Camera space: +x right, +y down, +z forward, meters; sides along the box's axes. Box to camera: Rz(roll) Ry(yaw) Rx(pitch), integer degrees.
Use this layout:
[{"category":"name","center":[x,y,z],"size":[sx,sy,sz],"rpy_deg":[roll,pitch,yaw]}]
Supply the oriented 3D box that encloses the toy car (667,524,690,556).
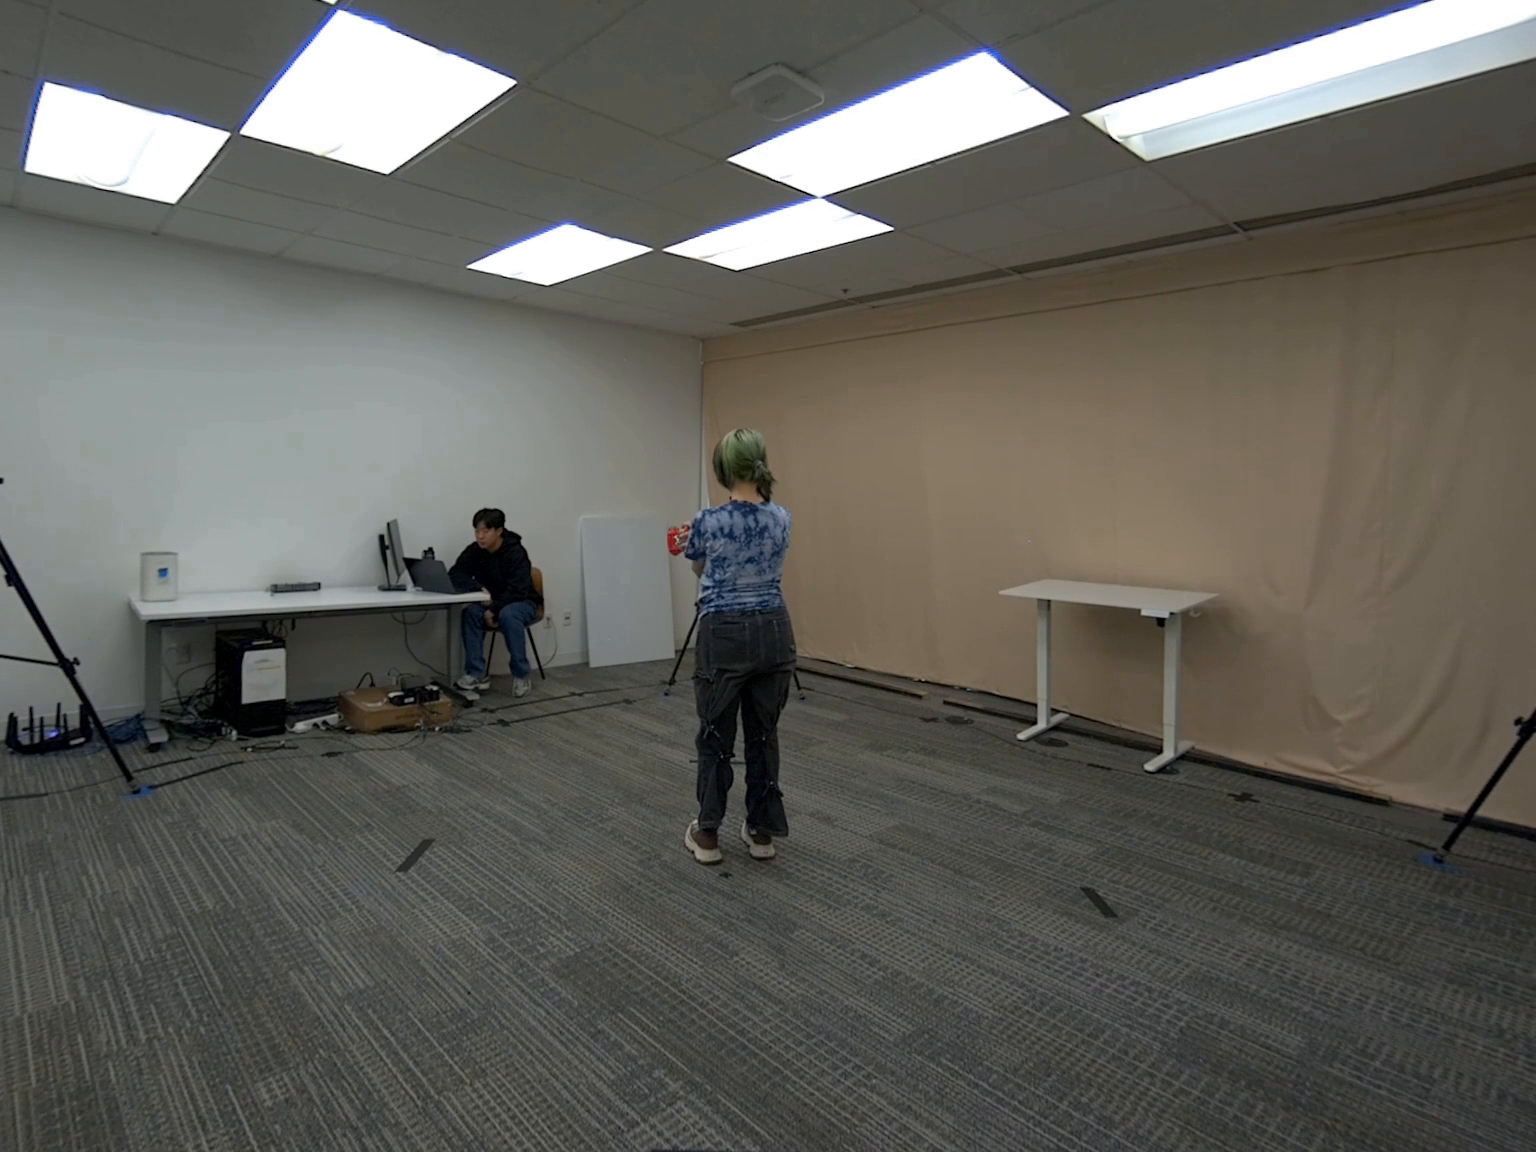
[{"category":"toy car","center":[-0.317,-0.161,3.669],"size":[0.252,0.130,0.084],"rpy_deg":[-5,6,-11]}]
